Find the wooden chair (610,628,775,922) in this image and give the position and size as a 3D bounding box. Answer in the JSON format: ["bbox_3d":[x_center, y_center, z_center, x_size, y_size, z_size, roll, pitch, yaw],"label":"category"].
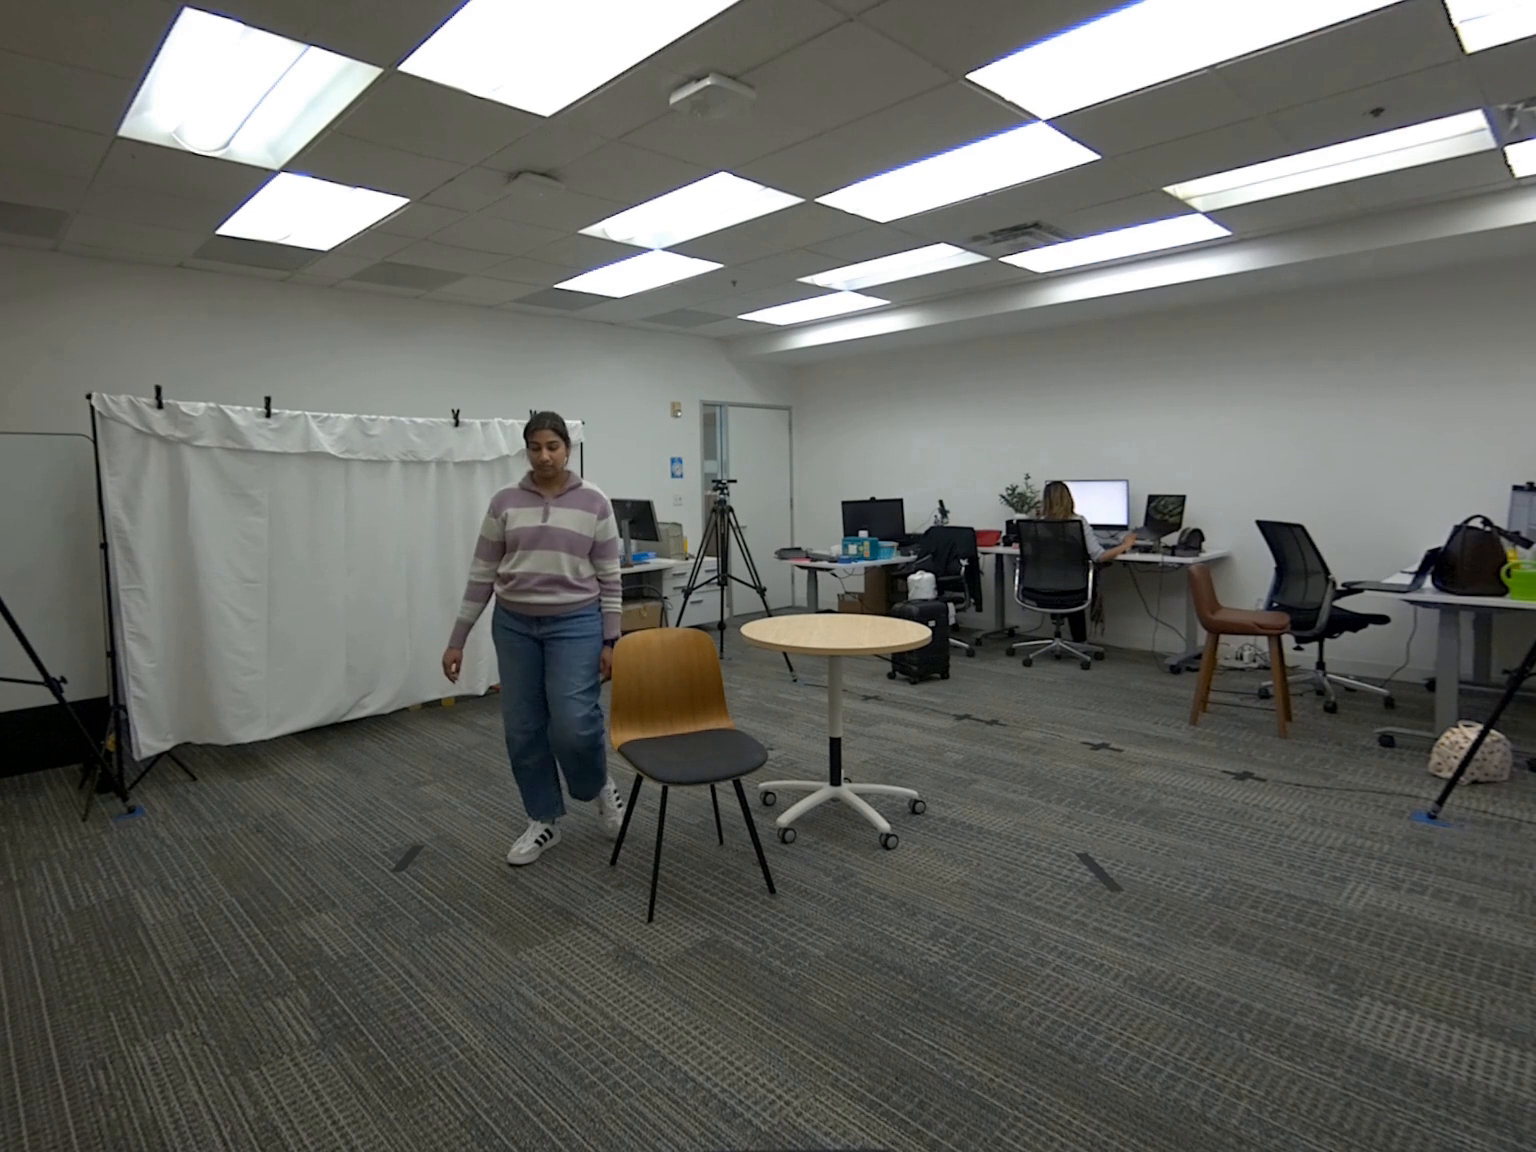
[{"bbox_3d":[-0.276,0.642,2.954,0.468,0.877,0.534,-3,0,-25],"label":"wooden chair"}]
